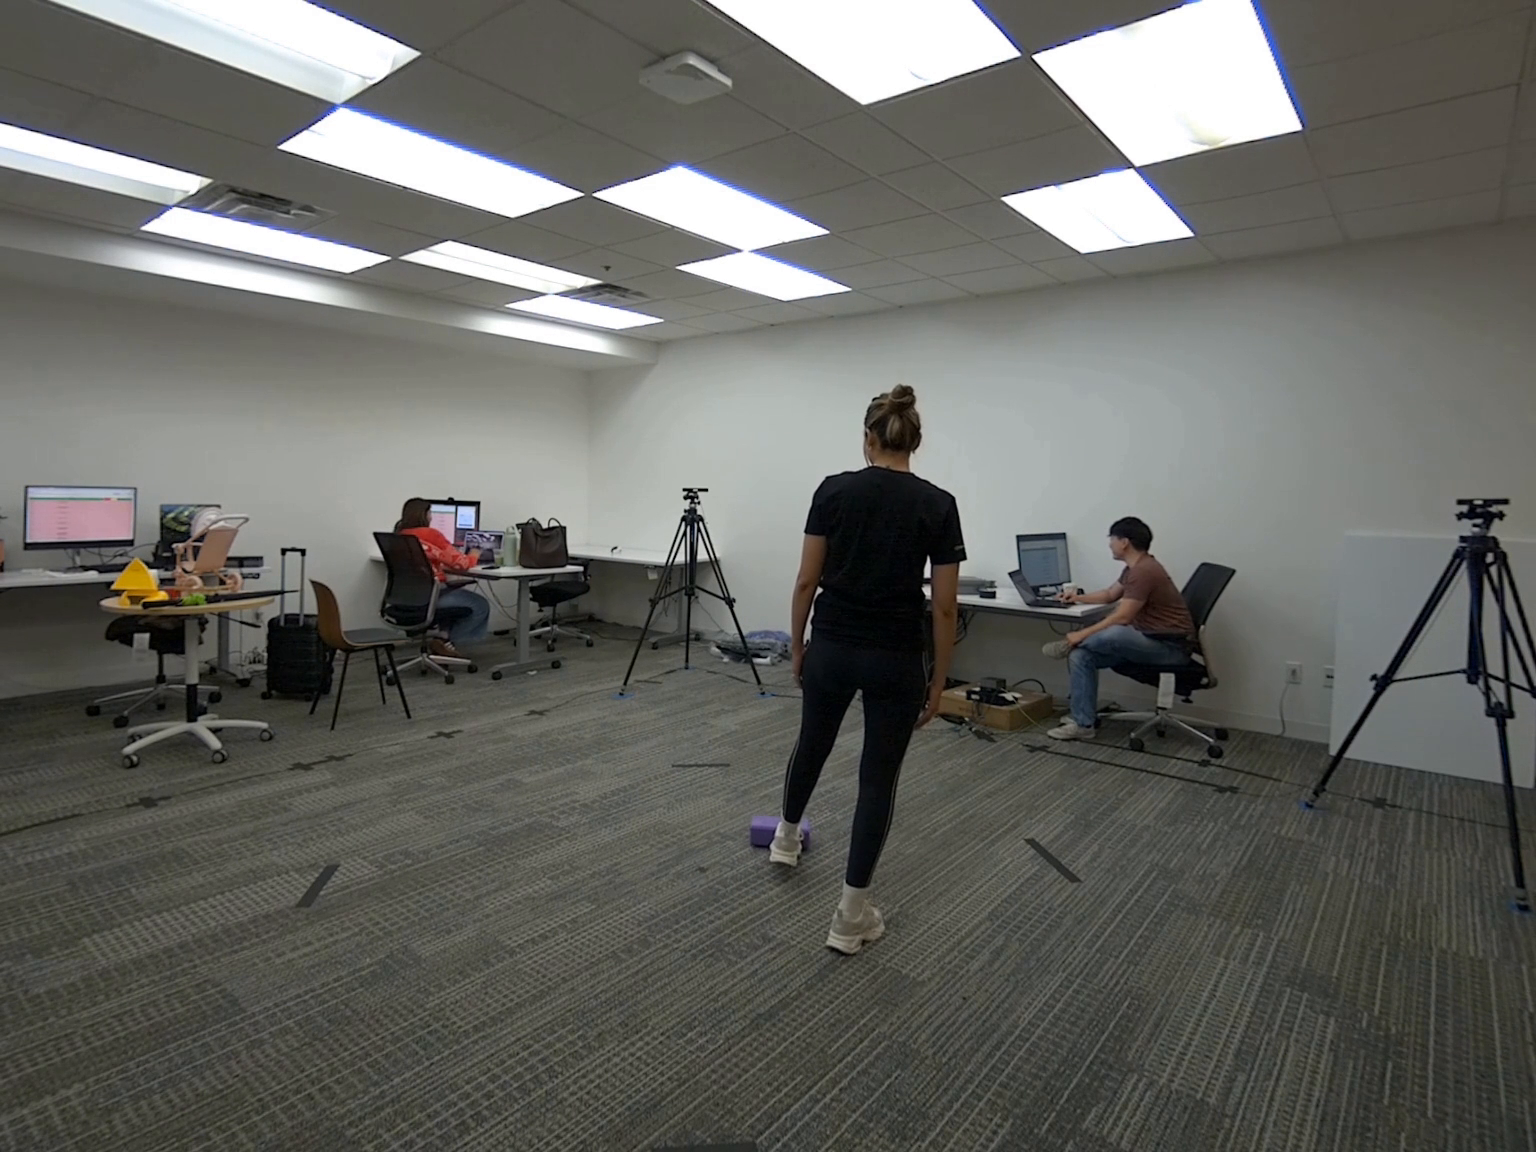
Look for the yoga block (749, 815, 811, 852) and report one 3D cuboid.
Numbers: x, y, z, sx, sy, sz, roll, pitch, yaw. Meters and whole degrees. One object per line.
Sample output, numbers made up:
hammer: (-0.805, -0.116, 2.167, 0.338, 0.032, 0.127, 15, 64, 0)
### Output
yoga block: (0.040, 1.006, 3.364, 0.231, 0.076, 0.148, 1, 3, 7)
